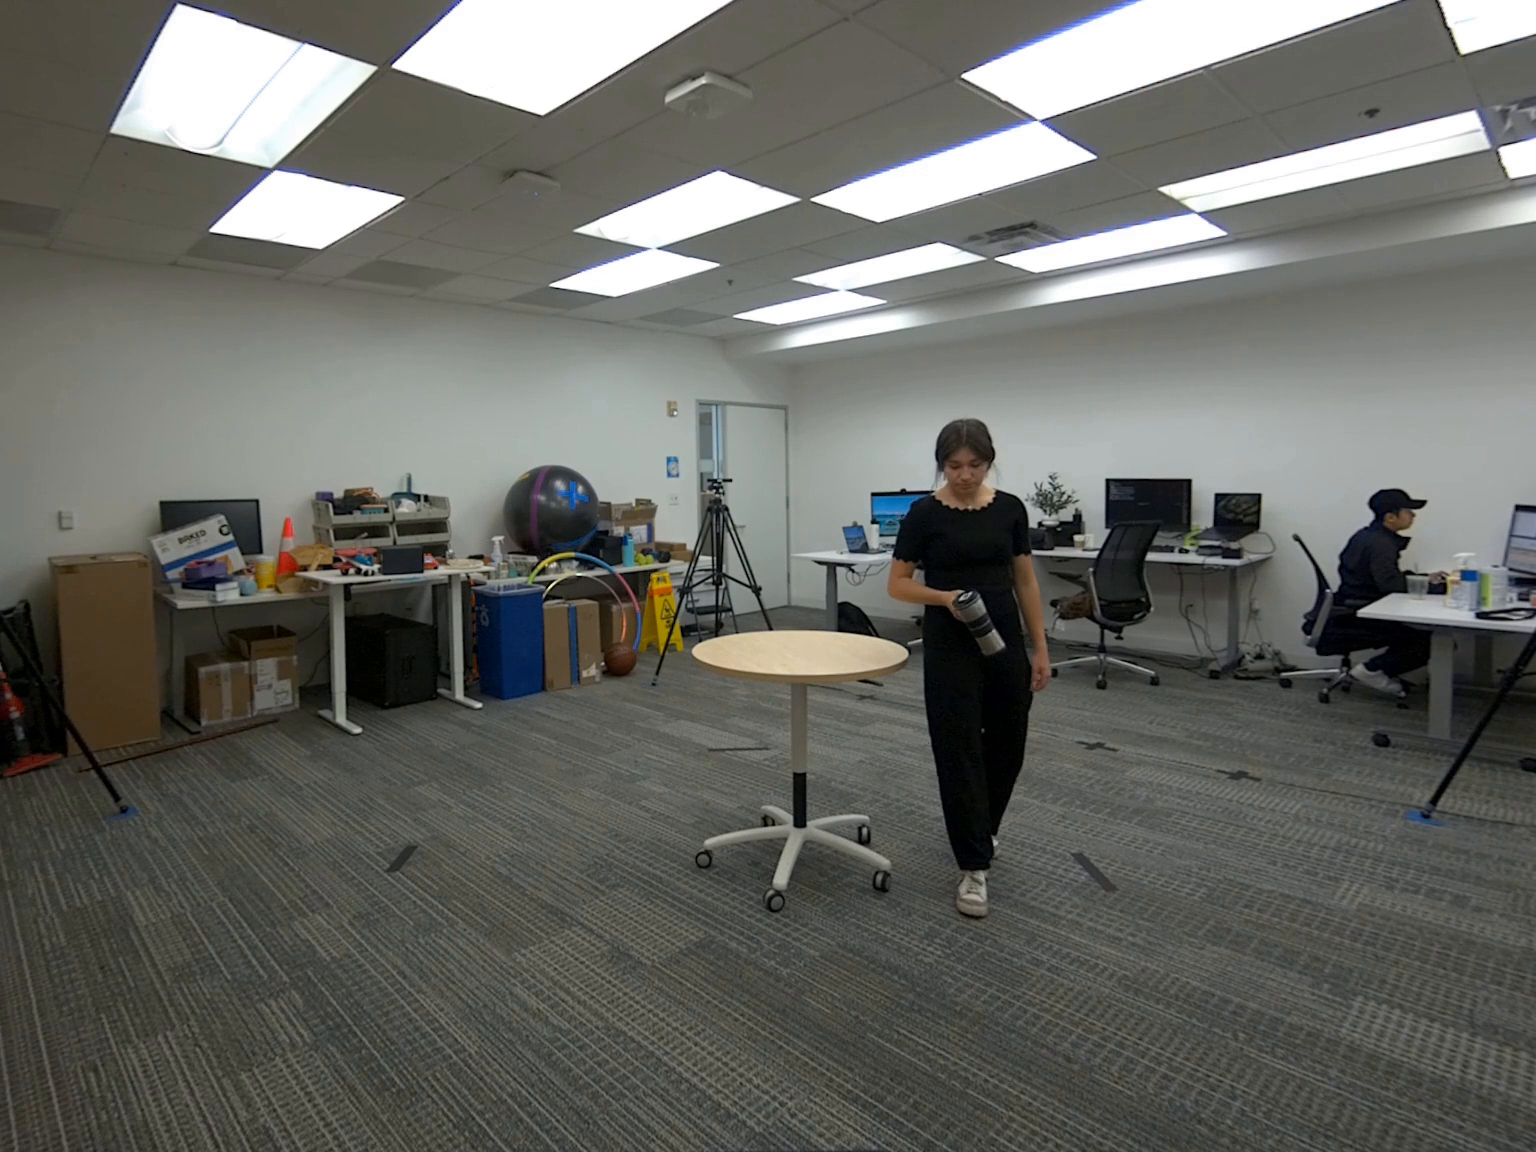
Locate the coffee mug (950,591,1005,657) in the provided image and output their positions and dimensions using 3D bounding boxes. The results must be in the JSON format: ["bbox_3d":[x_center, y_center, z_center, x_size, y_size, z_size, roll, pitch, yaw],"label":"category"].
[{"bbox_3d":[0.671,0.148,2.659,0.121,0.202,0.089,-34,6,-38],"label":"coffee mug"}]
